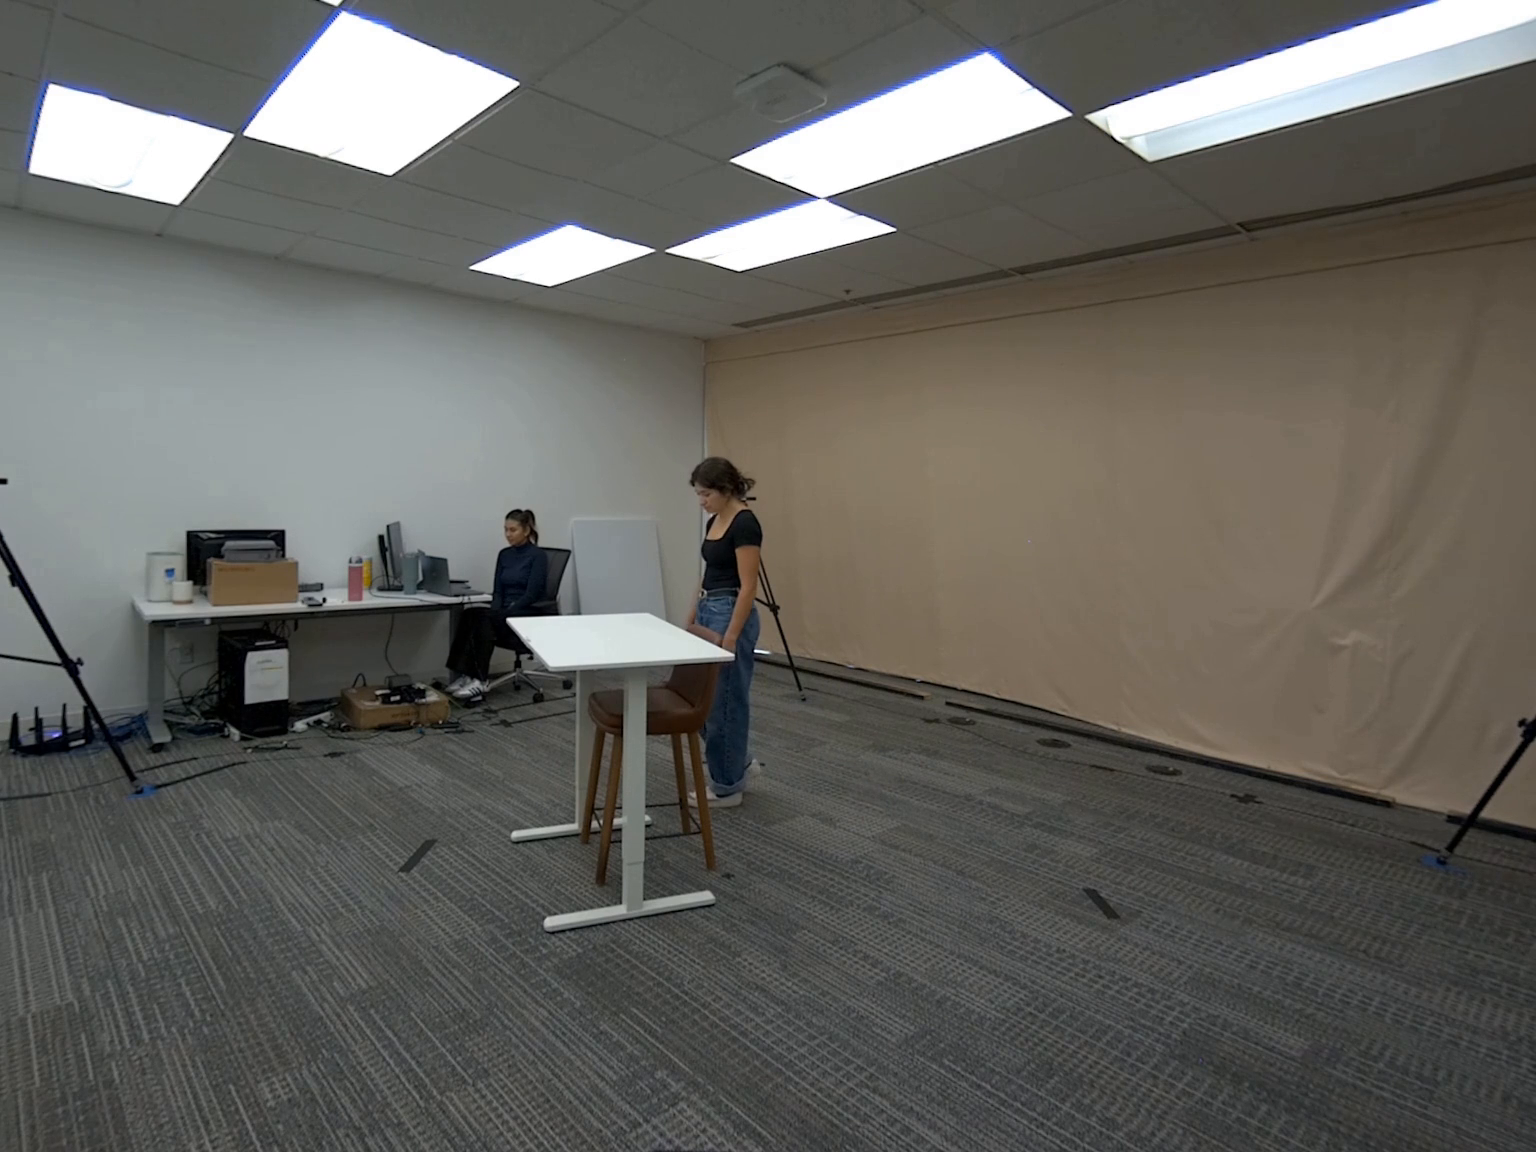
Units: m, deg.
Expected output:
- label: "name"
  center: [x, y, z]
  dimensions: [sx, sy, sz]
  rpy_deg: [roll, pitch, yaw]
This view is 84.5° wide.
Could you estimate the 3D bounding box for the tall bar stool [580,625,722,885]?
- label: "tall bar stool"
  center: [-0.461, 0.662, 3.237]
  dimensions: [0.460, 0.888, 0.464]
  rpy_deg: [2, 2, -20]
